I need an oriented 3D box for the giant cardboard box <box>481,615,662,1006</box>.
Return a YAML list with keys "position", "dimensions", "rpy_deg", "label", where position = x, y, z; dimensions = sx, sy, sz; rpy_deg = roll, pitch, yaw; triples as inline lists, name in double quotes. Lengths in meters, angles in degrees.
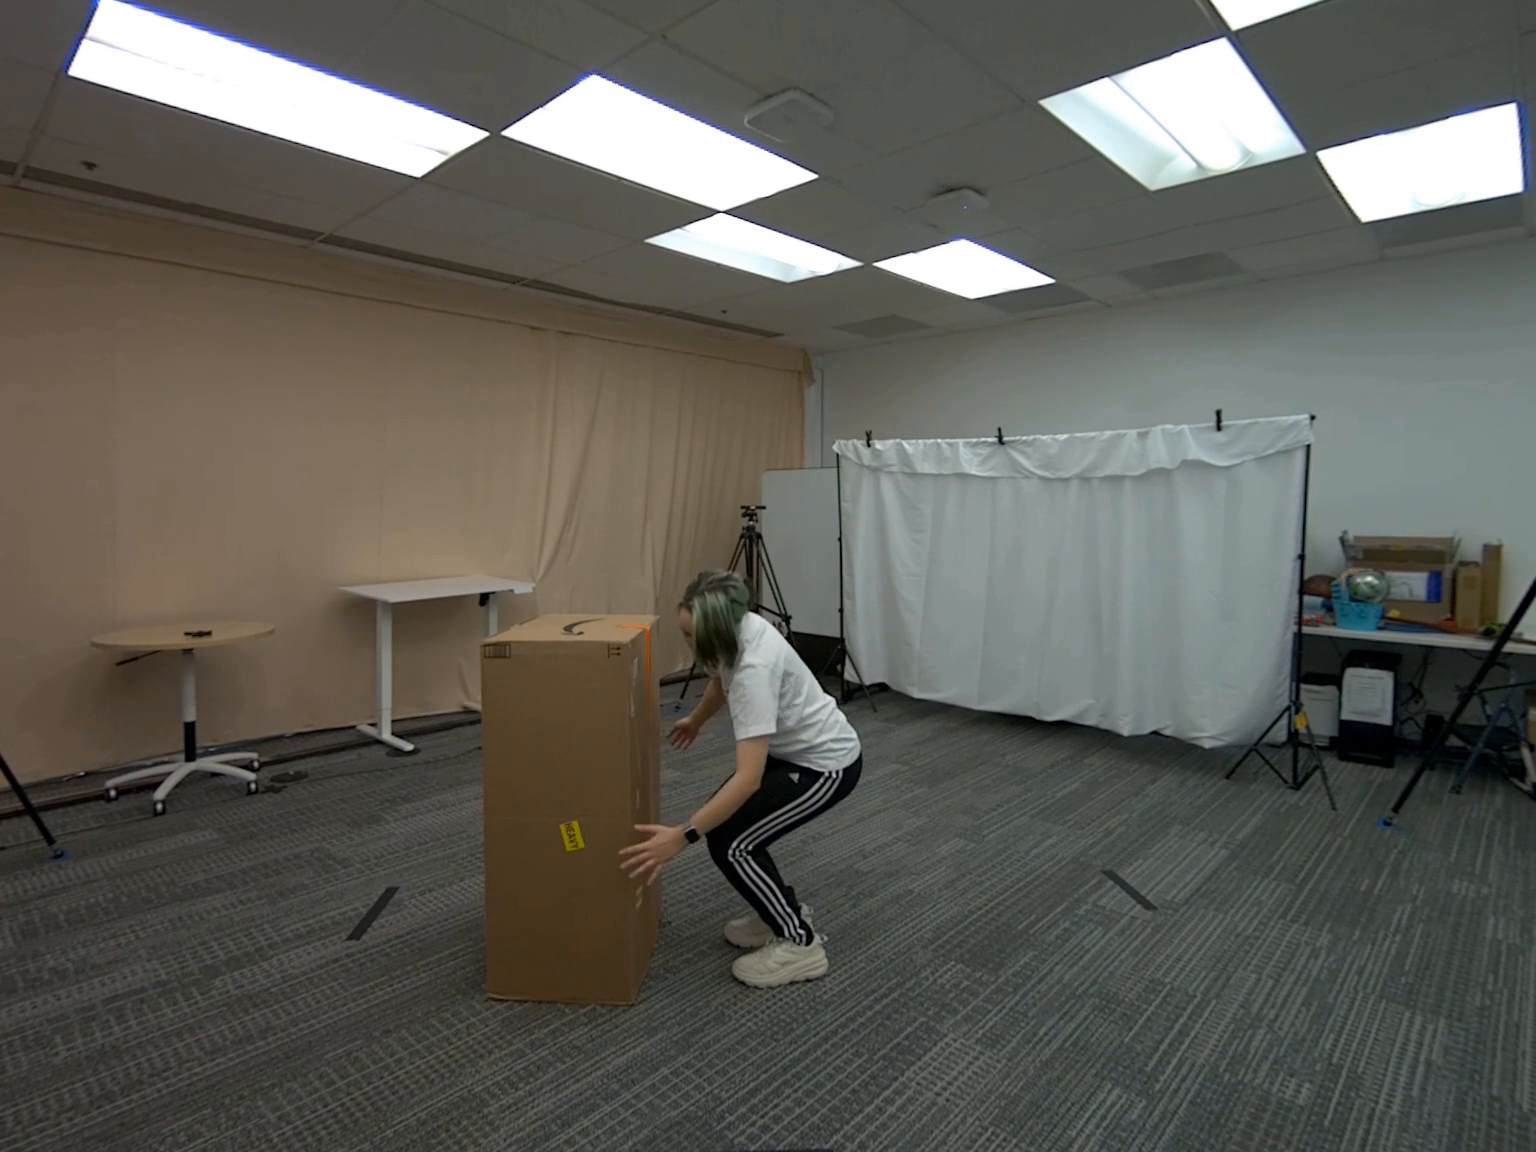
- position: [-0.582, 0.669, 2.623]
  dimensions: [0.448, 1.025, 0.583]
  rpy_deg: [-1, 3, 2]
  label: "giant cardboard box"
